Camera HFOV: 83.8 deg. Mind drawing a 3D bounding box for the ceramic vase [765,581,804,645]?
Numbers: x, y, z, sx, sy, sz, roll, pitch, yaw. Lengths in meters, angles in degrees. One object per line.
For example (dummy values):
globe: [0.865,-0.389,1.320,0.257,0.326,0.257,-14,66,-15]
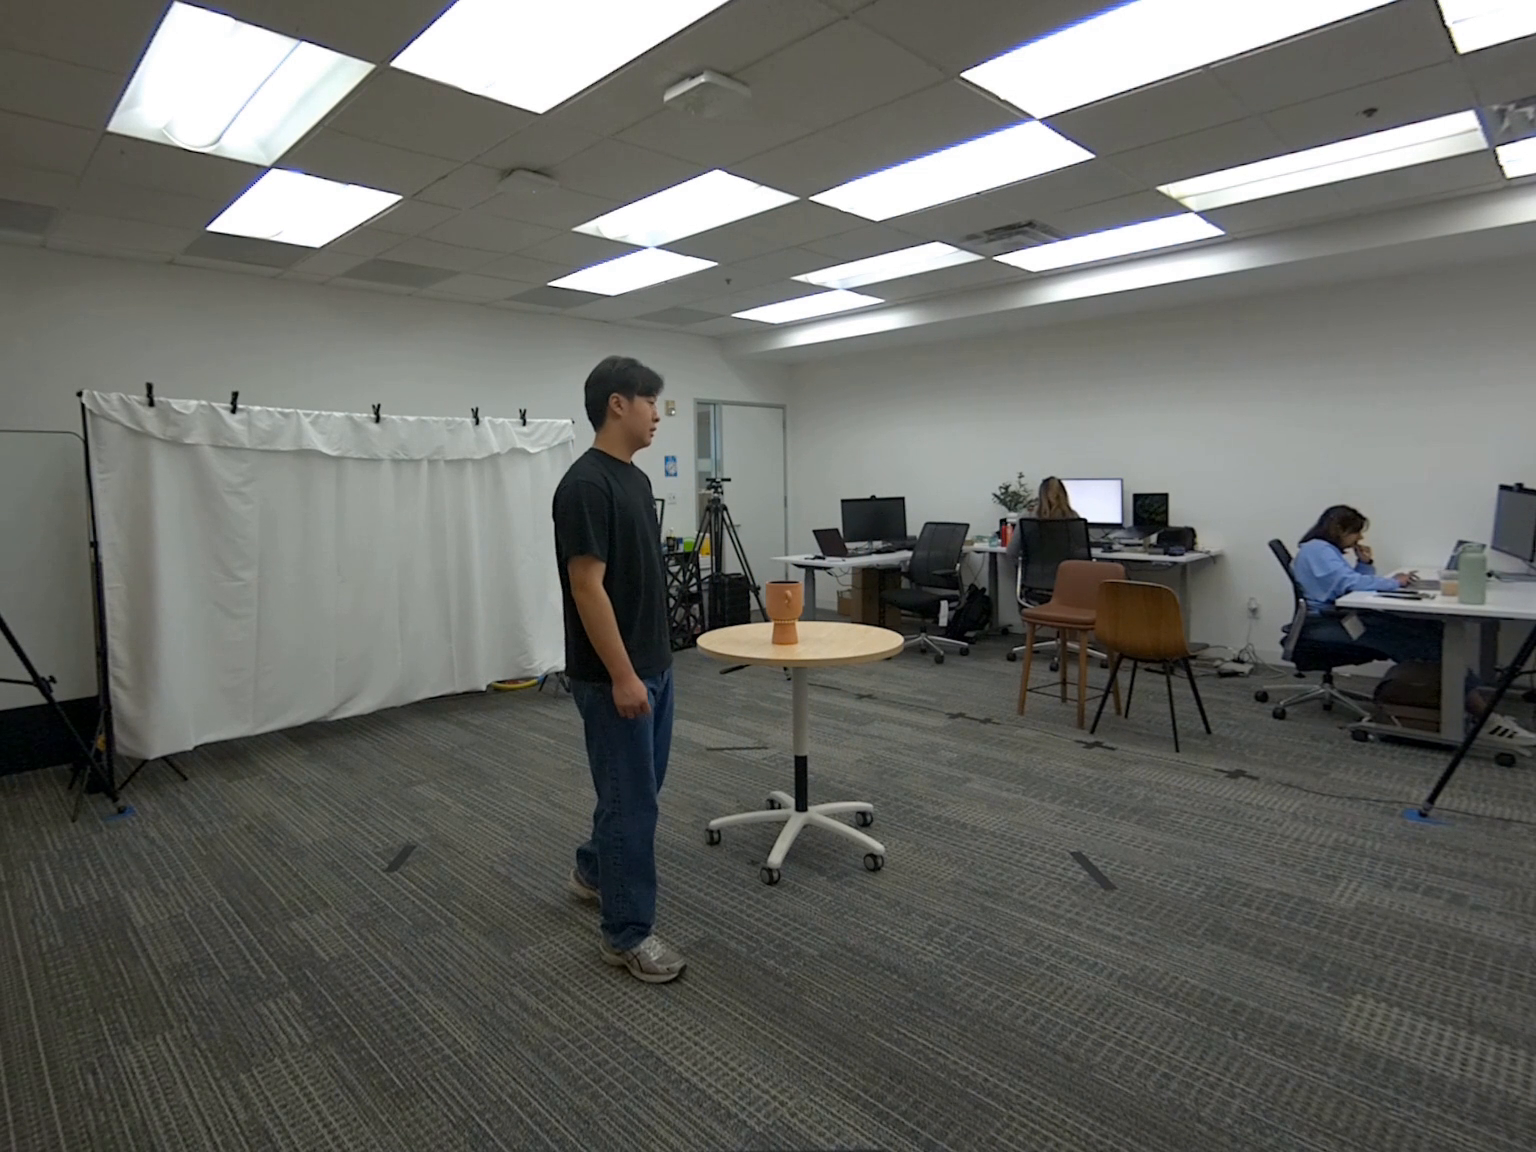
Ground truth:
ceramic vase: [0.061,0.133,3.108,0.138,0.219,0.155,0,5,29]
